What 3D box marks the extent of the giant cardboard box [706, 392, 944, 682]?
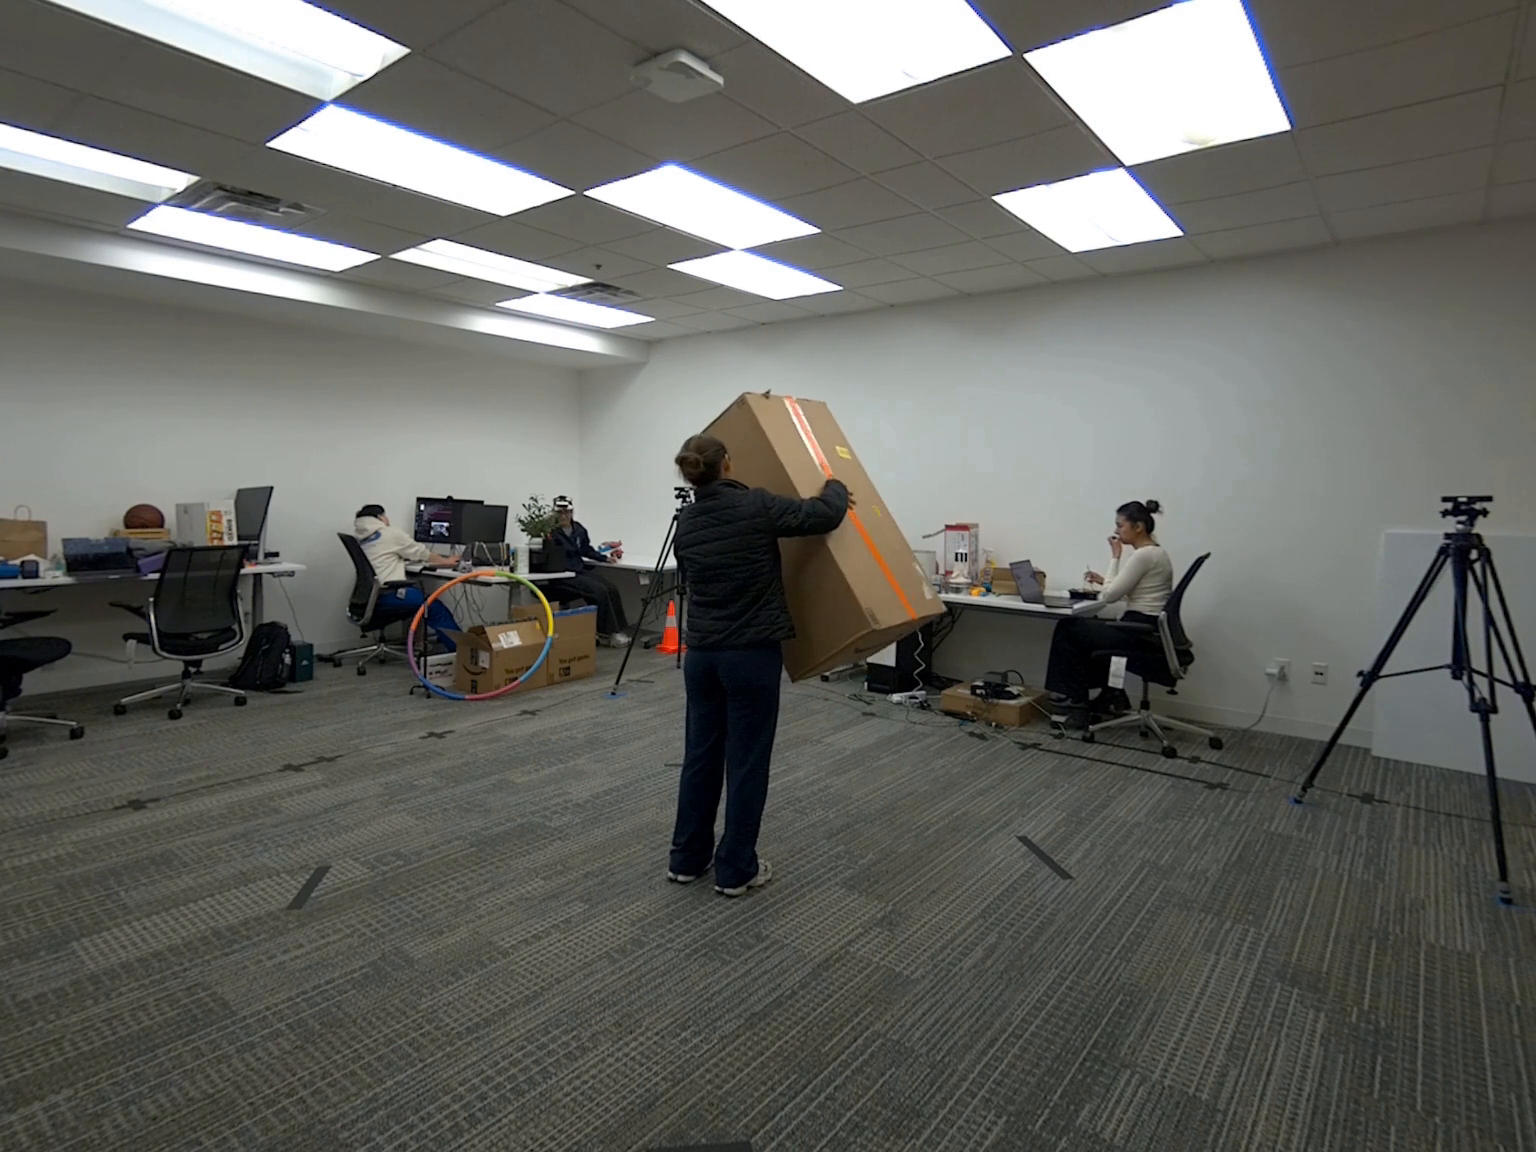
[{"bbox_3d":[0.181,-0.182,3.389,0.428,1.050,0.561,-39,-20,33],"label":"giant cardboard box"}]
